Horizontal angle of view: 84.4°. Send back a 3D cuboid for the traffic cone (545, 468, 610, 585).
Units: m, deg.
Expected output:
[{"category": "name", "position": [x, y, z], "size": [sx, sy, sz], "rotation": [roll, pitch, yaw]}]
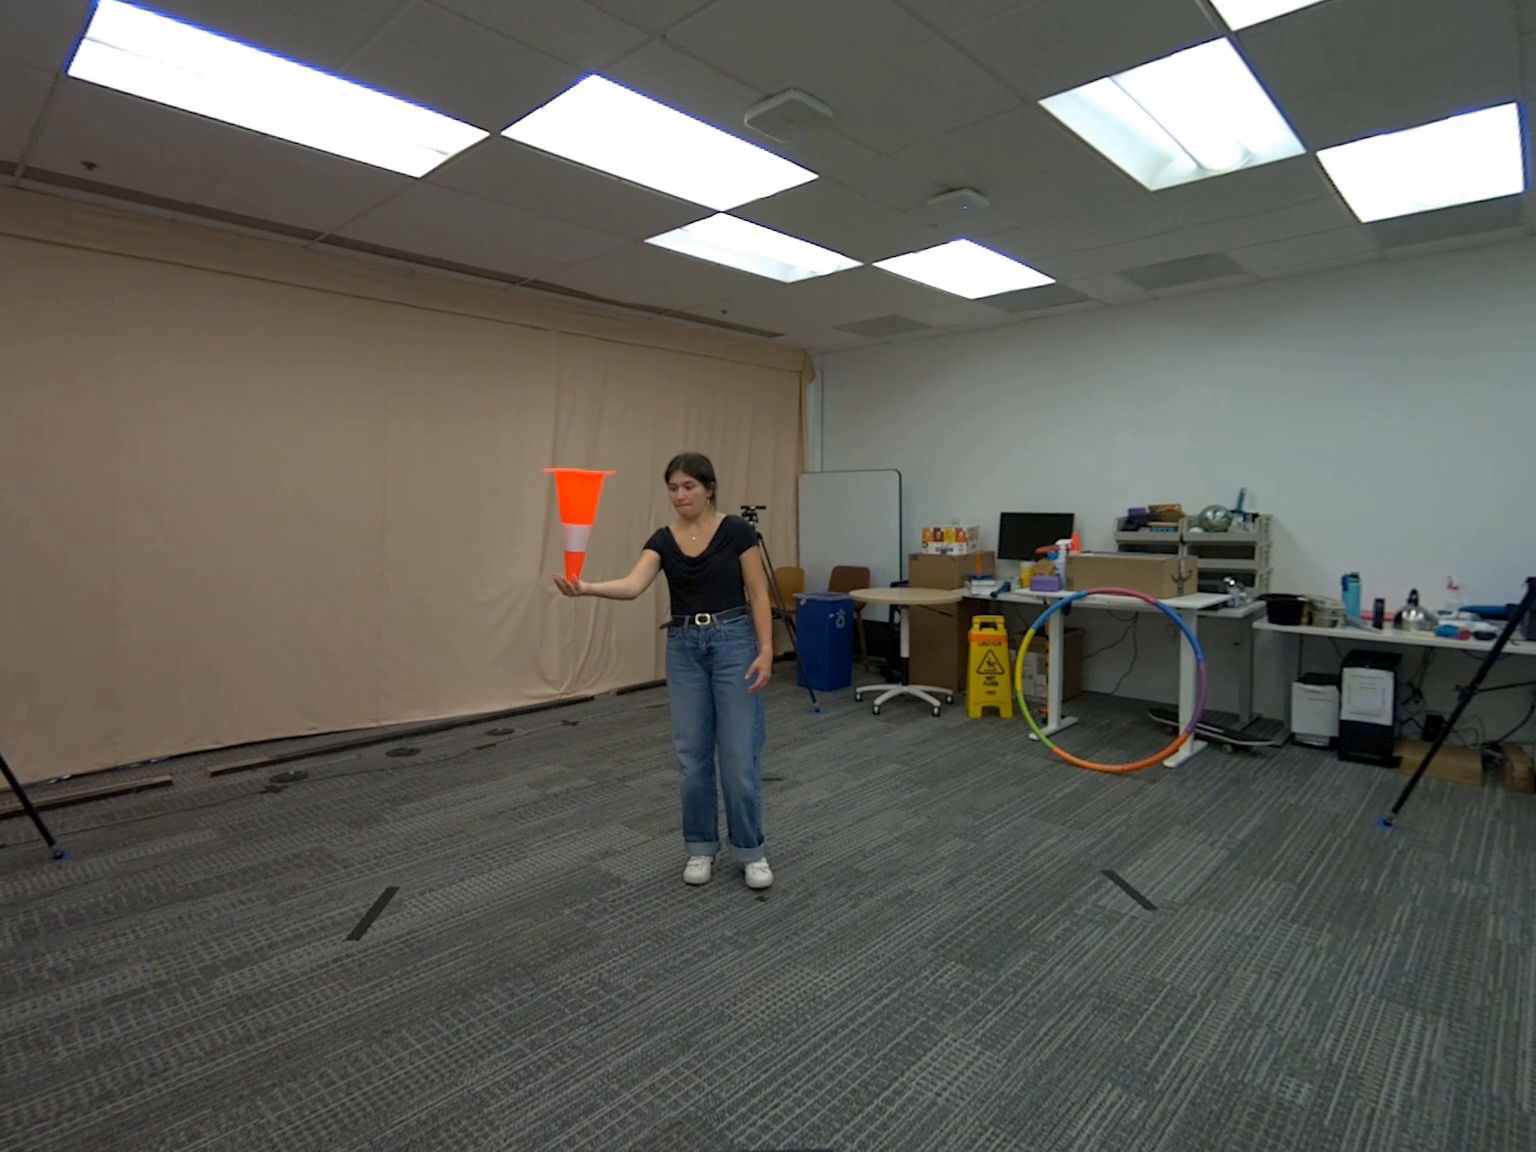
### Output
[{"category": "traffic cone", "position": [-0.611, -0.143, 2.697], "size": [0.206, 0.382, 0.203], "rotation": [4, 6, 11]}]
